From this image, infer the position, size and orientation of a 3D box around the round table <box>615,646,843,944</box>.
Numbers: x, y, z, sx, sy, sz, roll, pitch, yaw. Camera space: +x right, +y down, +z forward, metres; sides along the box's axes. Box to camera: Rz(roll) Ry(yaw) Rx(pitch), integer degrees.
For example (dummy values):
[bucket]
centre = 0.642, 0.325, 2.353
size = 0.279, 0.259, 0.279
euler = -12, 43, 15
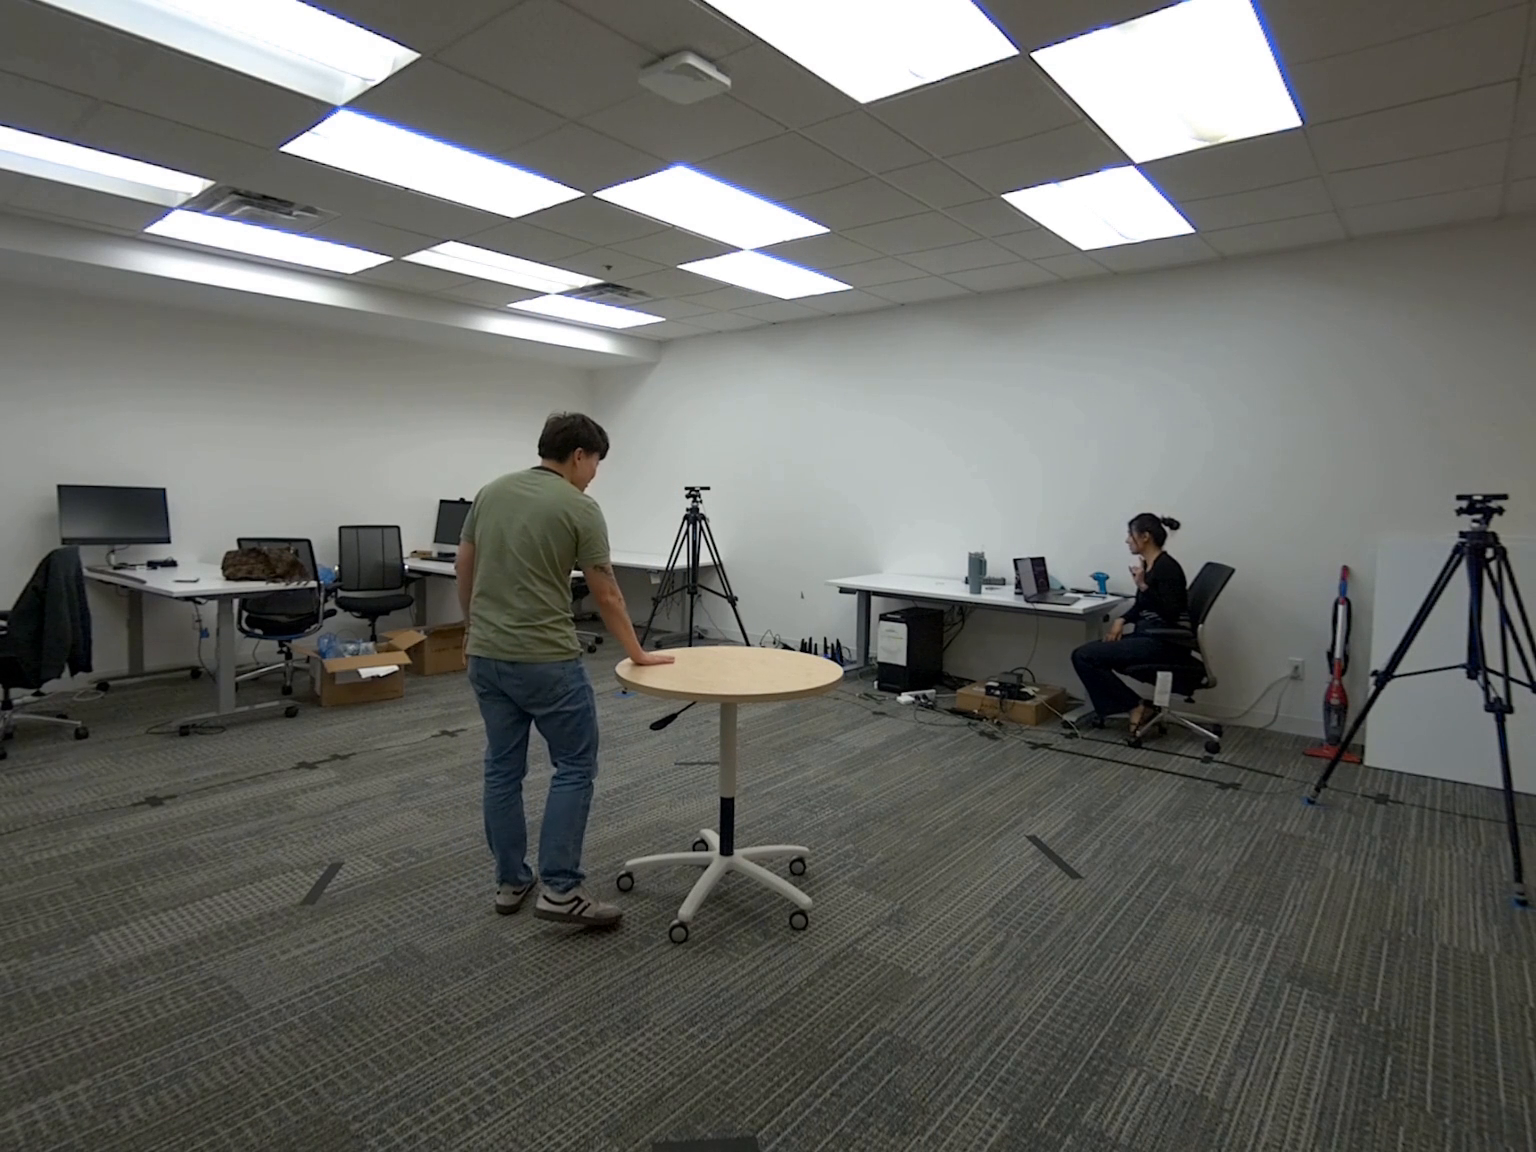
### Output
[round table]
centre = -0.143, 0.702, 2.890
size = 0.763, 0.791, 0.768
euler = 0, 4, -2
